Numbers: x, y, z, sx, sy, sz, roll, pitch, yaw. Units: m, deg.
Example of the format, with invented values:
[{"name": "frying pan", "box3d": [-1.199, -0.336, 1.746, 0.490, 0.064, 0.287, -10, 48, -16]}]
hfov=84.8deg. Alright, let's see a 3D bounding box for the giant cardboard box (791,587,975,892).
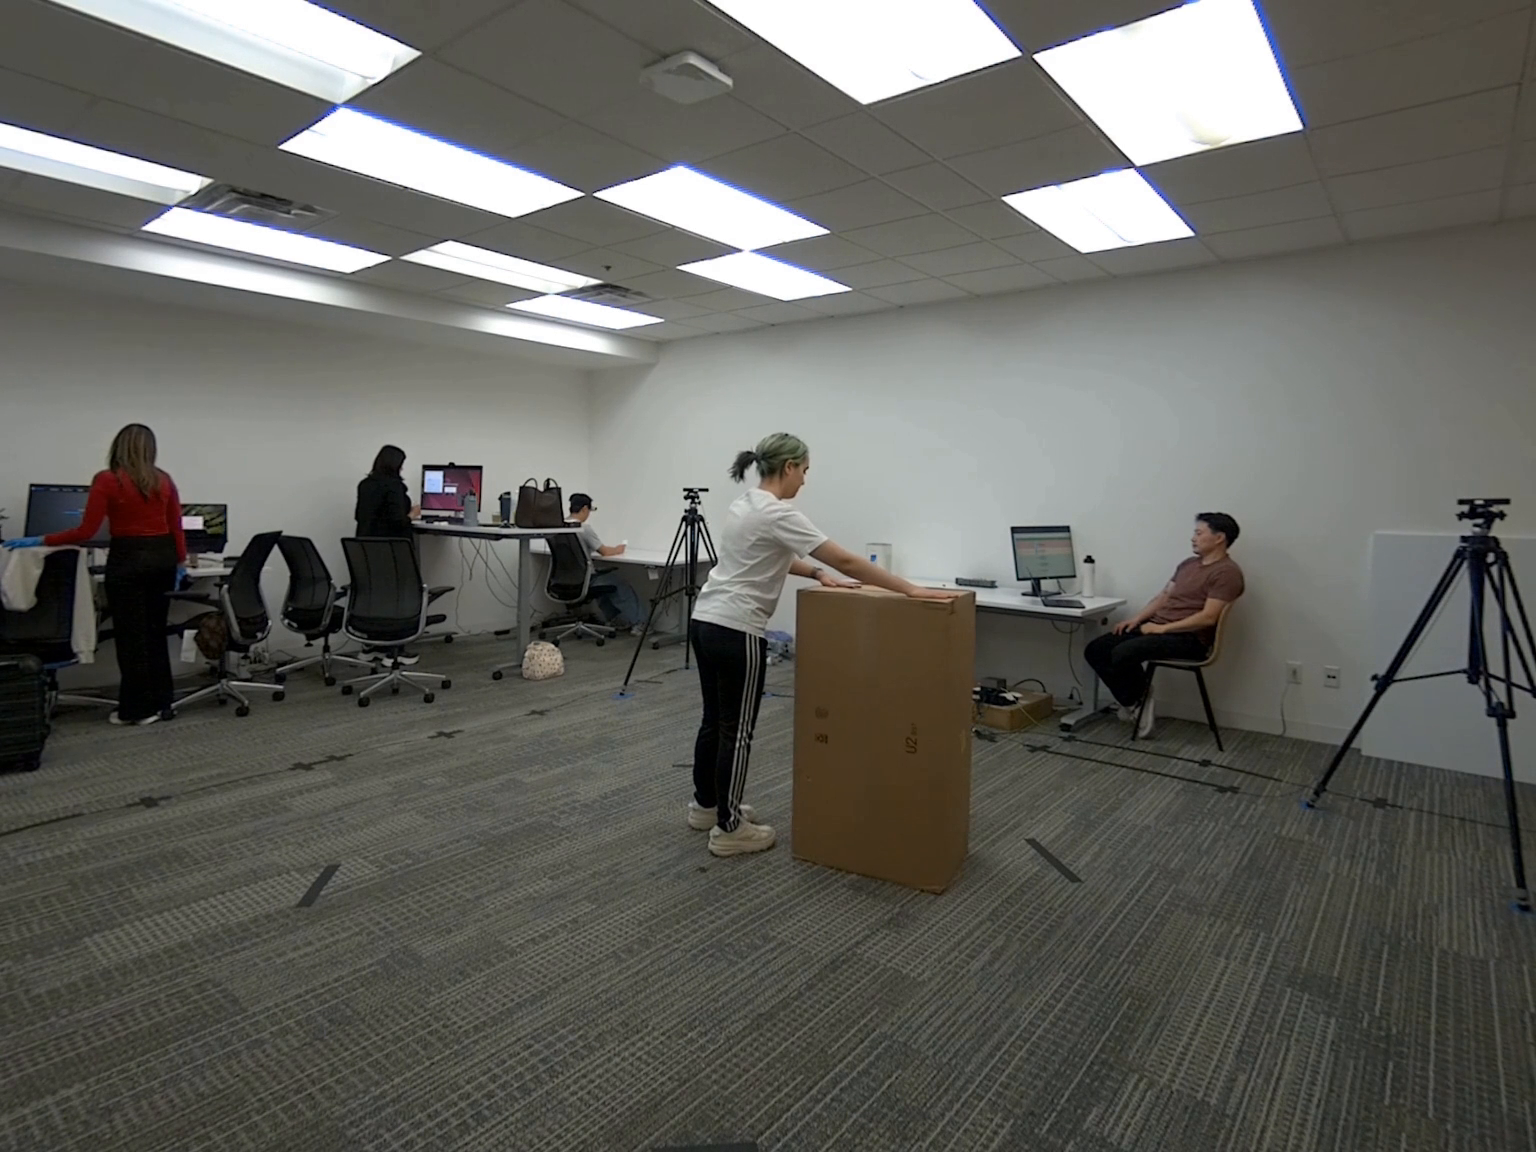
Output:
[{"name": "giant cardboard box", "box3d": [0.443, 0.567, 3.249, 0.600, 1.023, 0.436, 3, 4, 27]}]
